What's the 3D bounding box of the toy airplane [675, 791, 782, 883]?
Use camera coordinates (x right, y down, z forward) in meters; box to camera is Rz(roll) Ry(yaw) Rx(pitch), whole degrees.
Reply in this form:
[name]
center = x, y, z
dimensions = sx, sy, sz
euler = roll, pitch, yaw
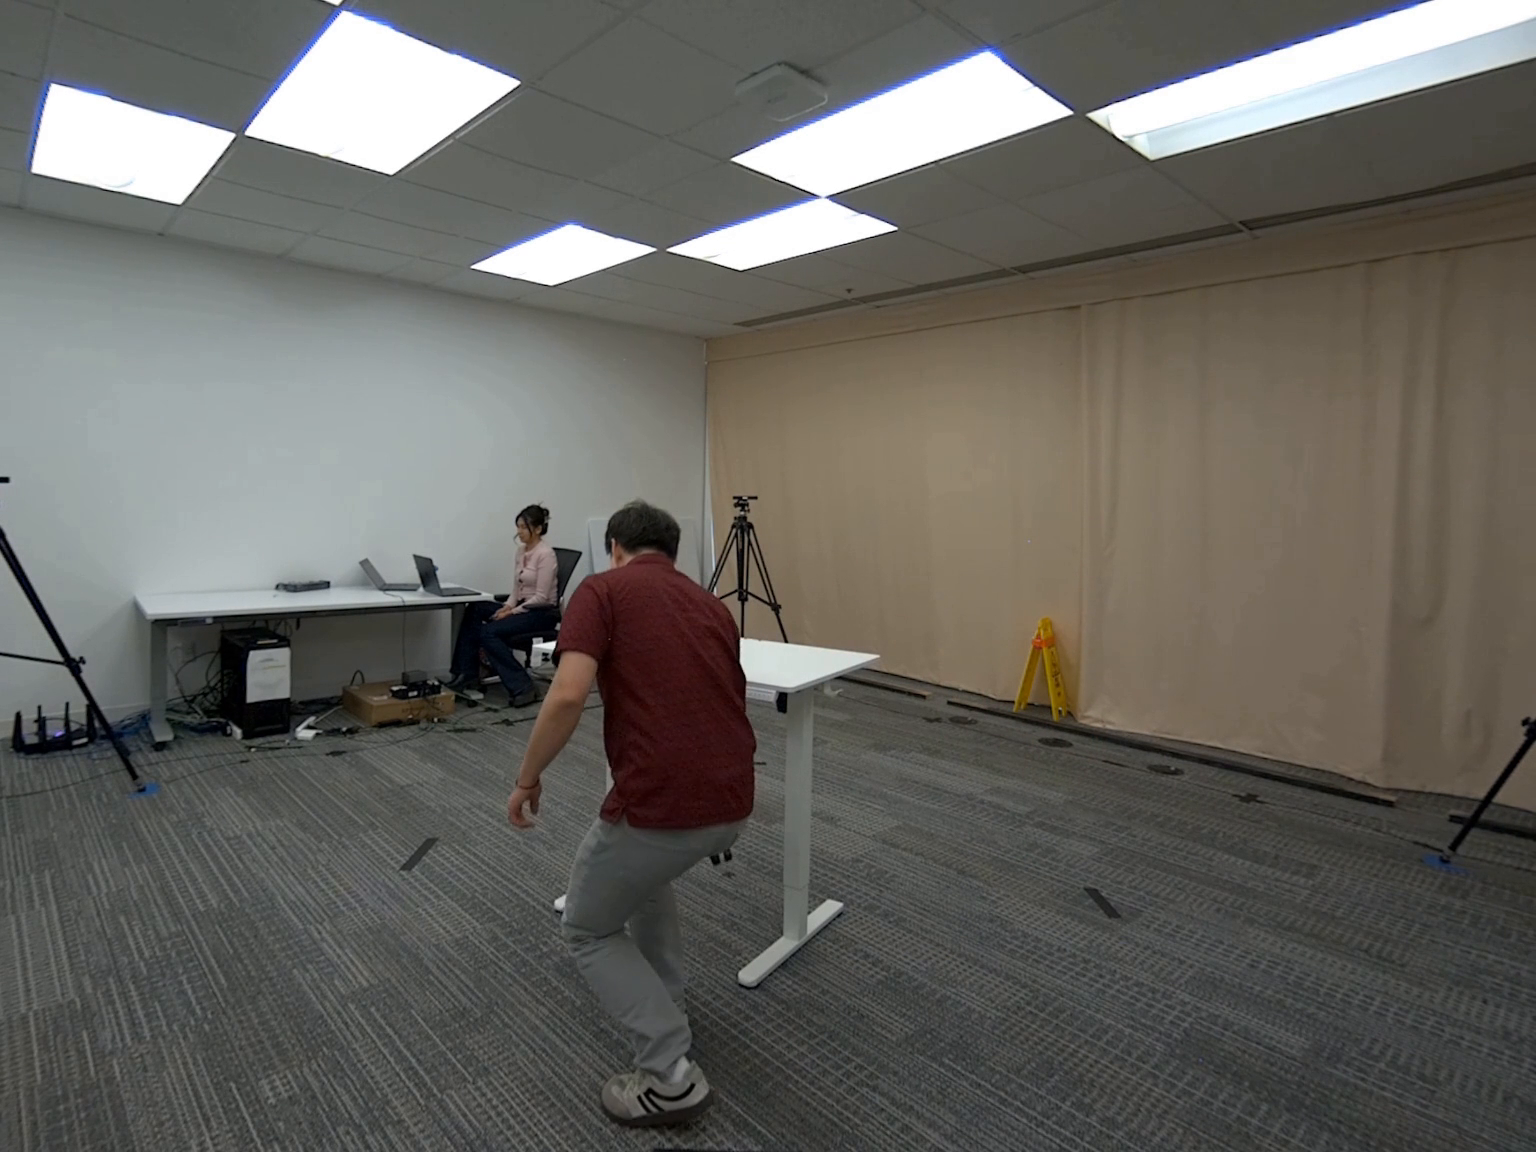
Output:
[toy airplane]
center = -0.159, 0.733, 2.379
dimensions = 0.246, 0.158, 0.262
euler = -8, -12, -45
